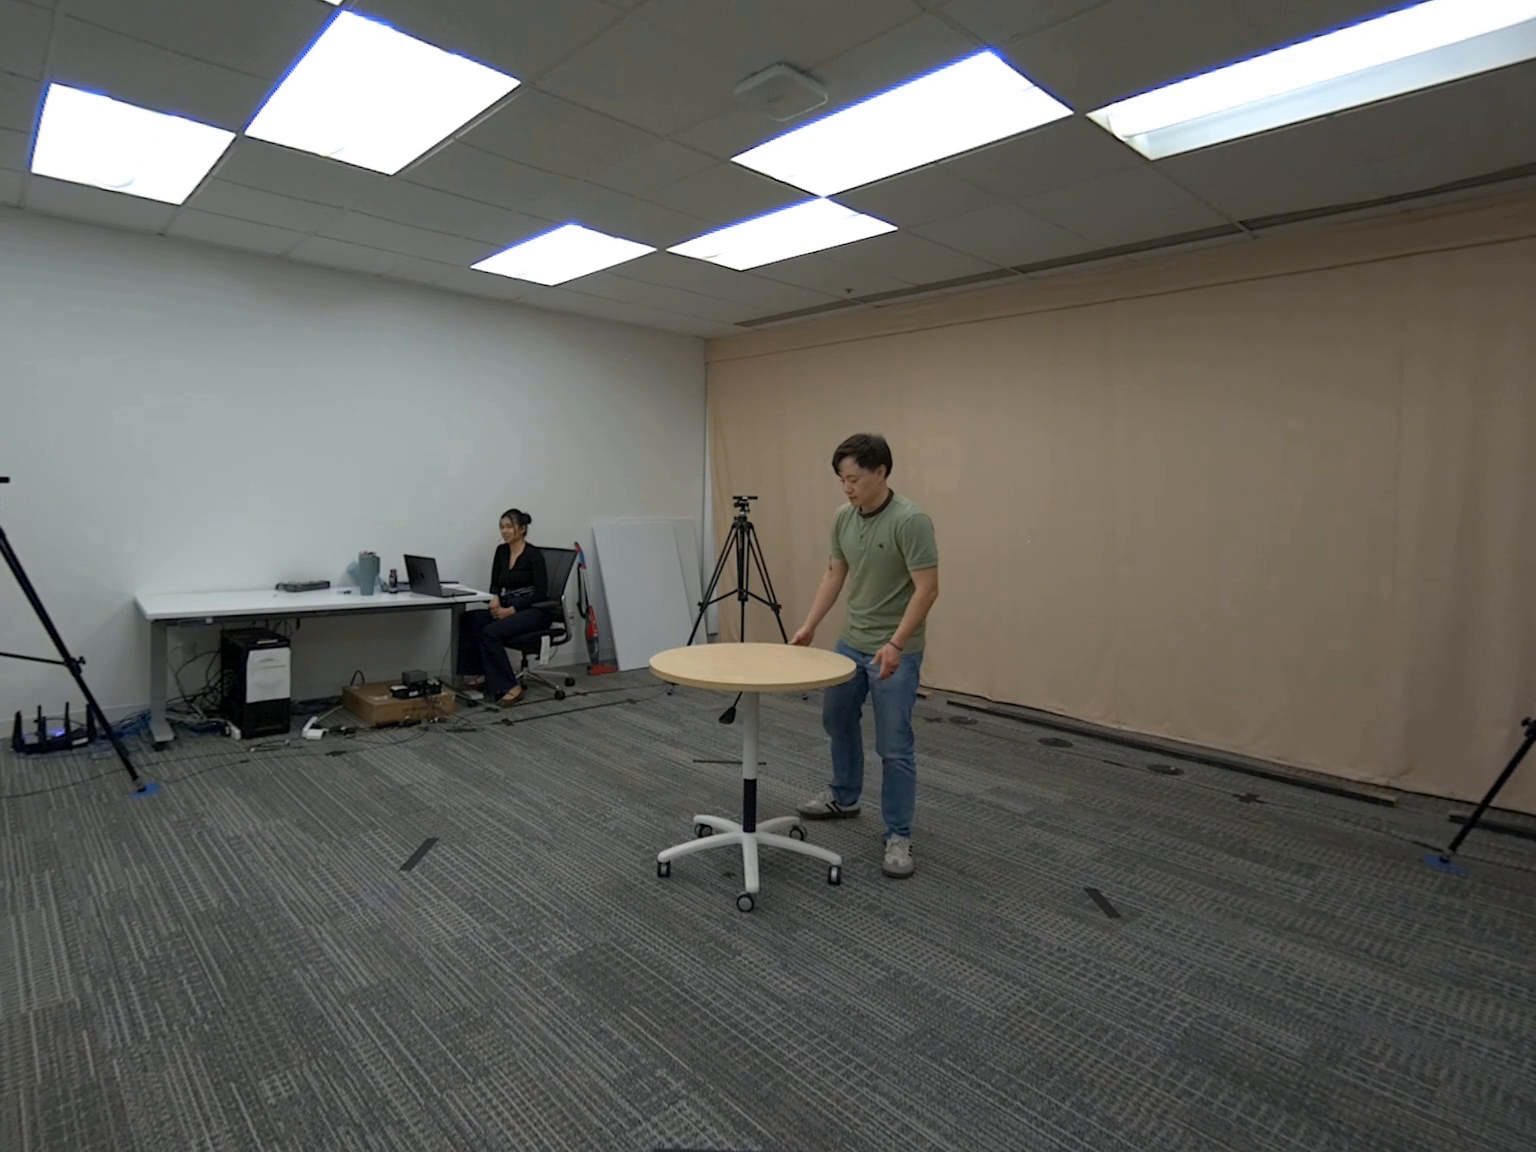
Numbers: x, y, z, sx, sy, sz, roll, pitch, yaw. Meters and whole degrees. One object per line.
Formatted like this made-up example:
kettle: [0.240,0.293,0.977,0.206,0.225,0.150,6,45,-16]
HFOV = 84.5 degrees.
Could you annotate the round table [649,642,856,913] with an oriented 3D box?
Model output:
round table: [-0.075,0.711,3.145,0.763,0.792,0.766,1,4,-1]
